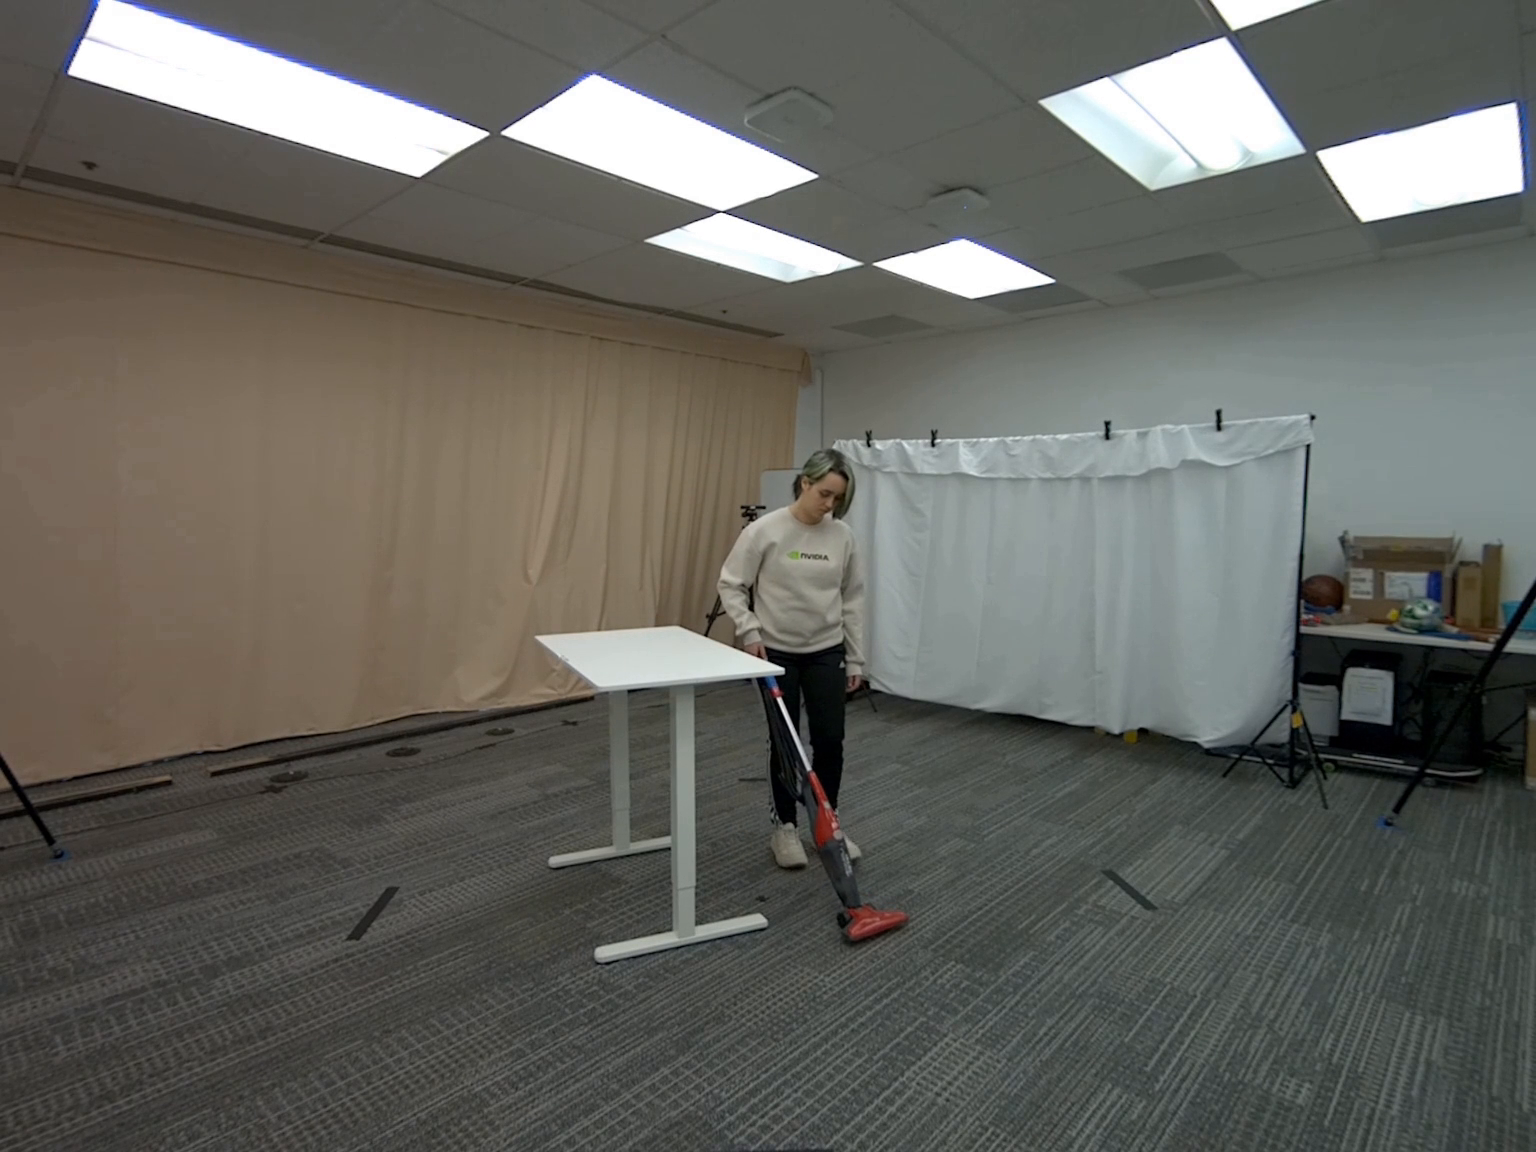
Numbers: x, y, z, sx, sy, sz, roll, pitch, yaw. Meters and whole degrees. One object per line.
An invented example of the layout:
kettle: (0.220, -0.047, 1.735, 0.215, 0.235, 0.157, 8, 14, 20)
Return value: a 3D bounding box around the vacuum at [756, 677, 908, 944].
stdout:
vacuum: (0.147, 0.733, 3.025, 0.244, 1.078, 0.144, 3, -41, -38)
